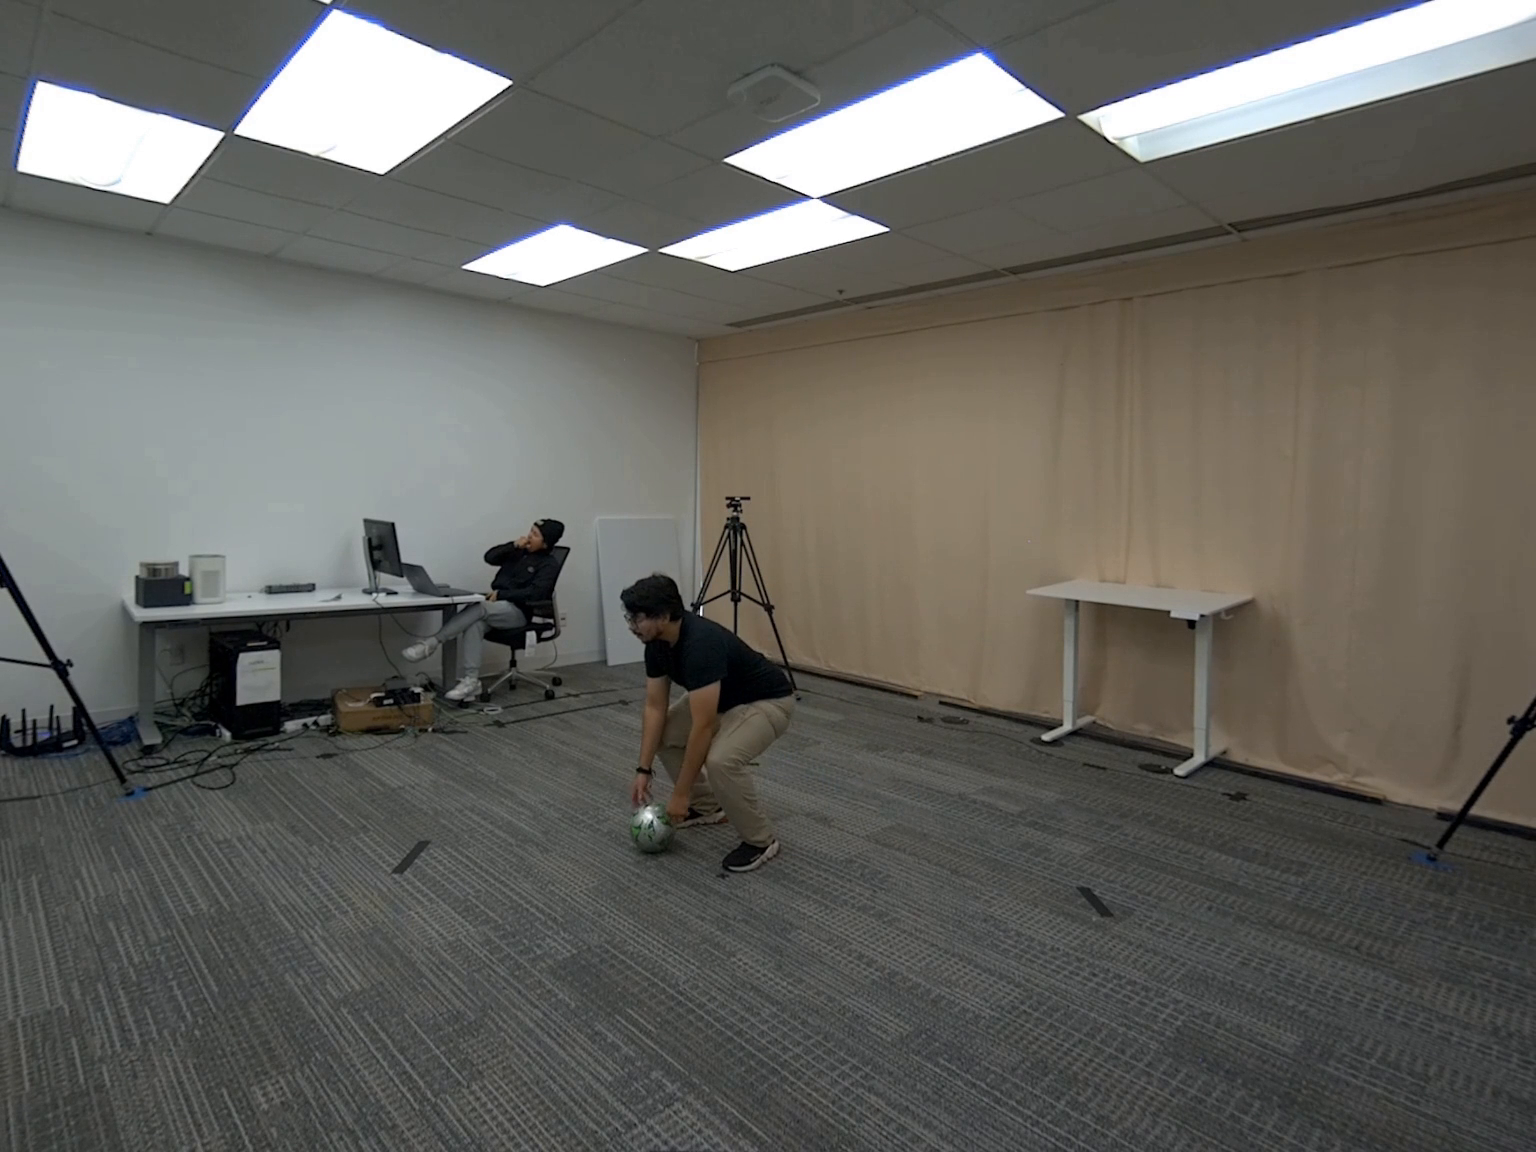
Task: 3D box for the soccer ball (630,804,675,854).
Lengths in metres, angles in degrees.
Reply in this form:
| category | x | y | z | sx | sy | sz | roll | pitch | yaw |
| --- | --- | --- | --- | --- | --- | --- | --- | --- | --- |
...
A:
| category | x | y | z | sx | sy | sz | roll | pitch | yaw |
| --- | --- | --- | --- | --- | --- | --- | --- | --- | --- |
| soccer ball | -0.465 | 0.982 | 3.310 | 0.187 | 0.187 | 0.188 | 1 | 4 | -1 |
